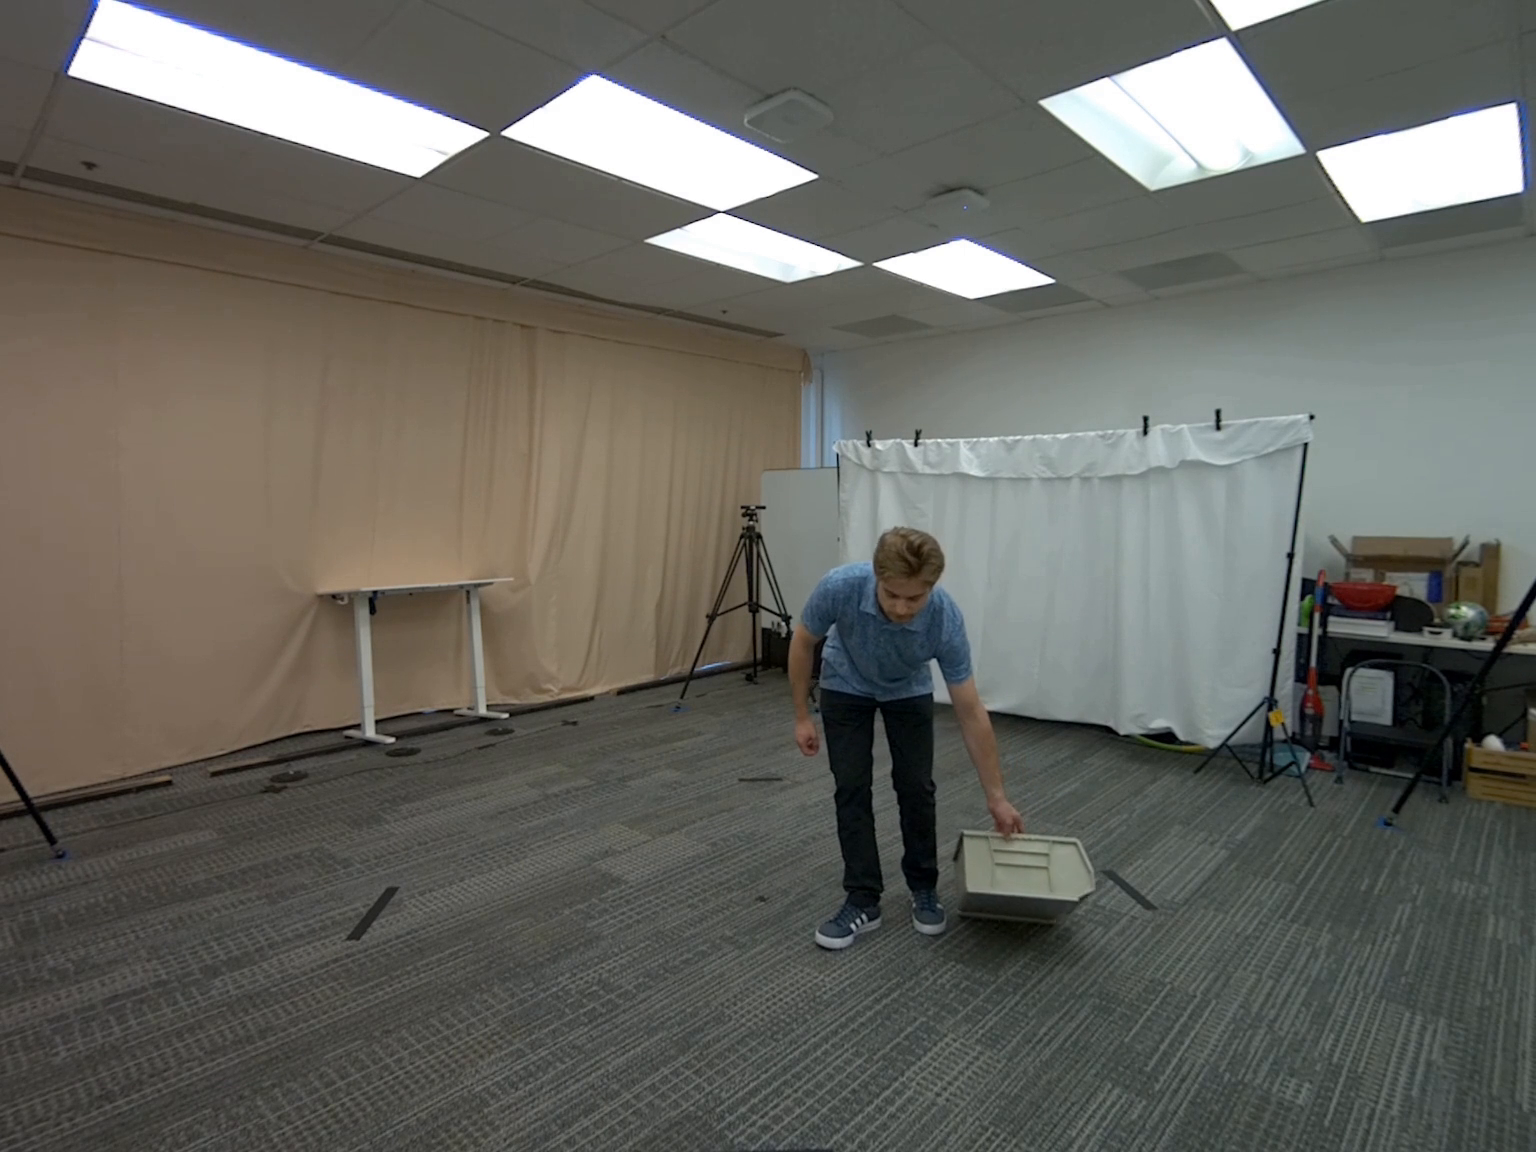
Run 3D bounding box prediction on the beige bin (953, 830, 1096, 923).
[{"bbox_3d":[0.806,0.977,2.693,0.381,0.191,0.412,1,-30,9],"label":"beige bin"}]
